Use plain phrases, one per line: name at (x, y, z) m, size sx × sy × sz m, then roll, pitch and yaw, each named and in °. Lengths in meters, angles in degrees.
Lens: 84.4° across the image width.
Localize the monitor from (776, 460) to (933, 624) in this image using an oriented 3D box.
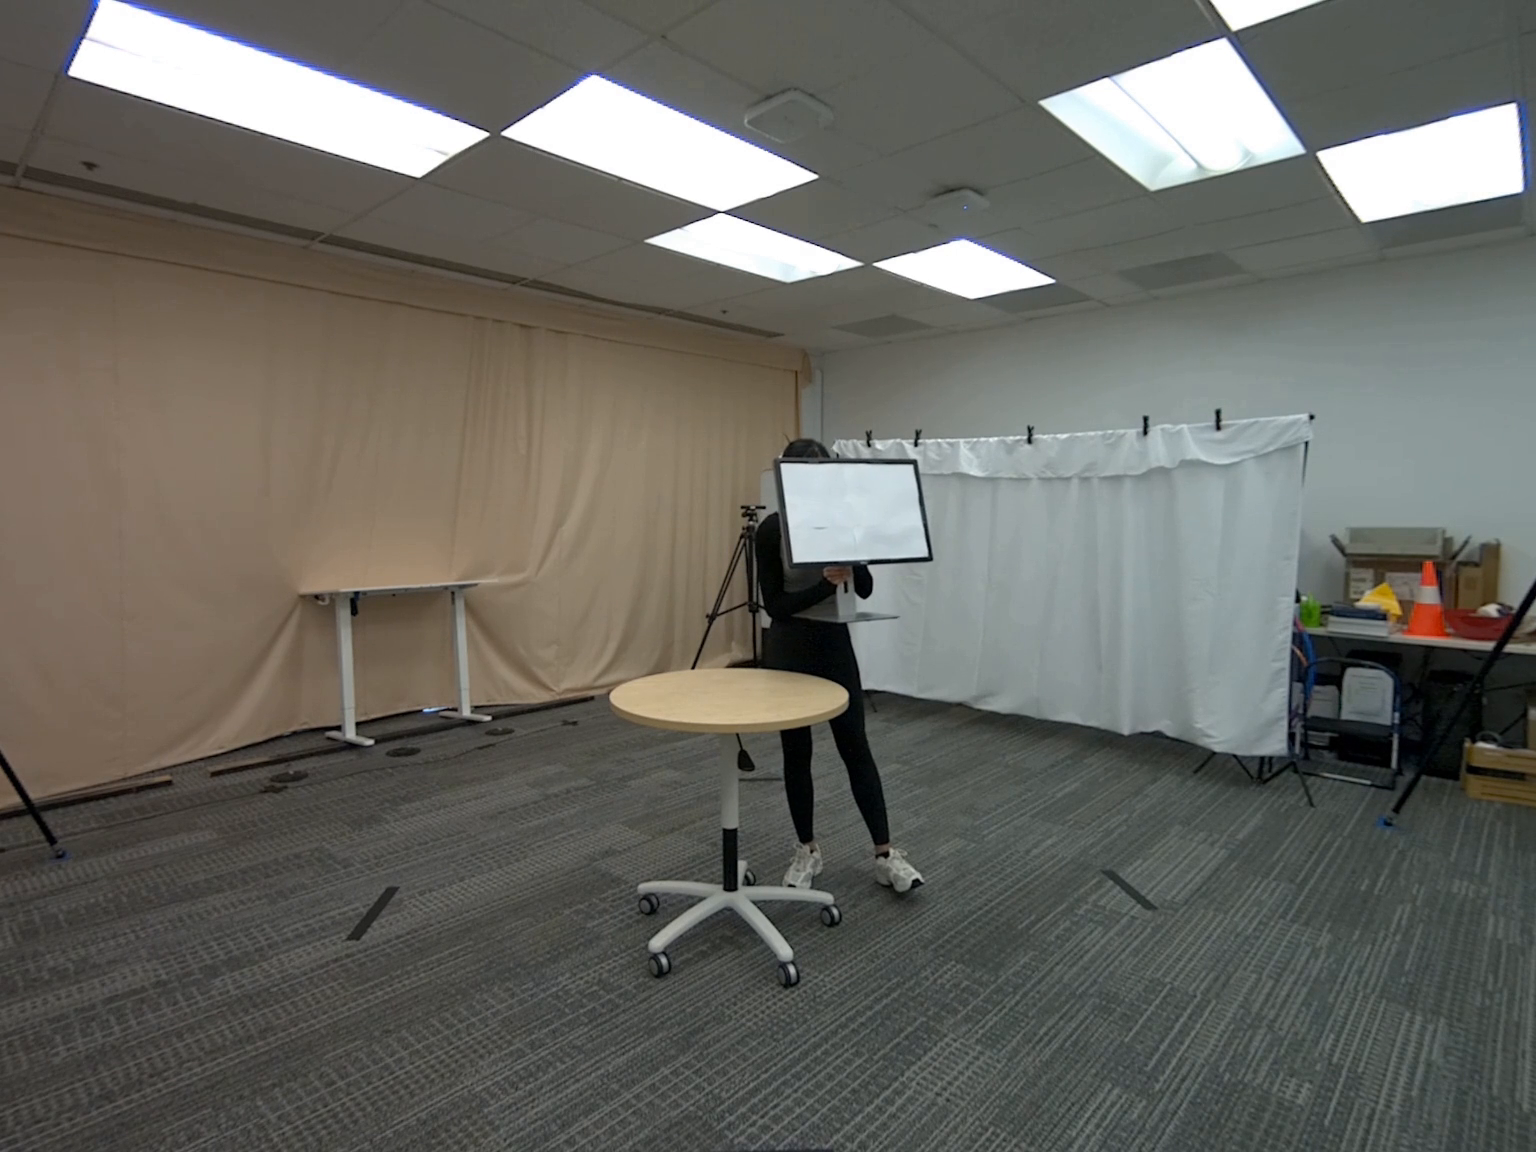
monitor at (0.283, -0.124, 2.832) m, size 0.526 × 0.522 × 0.192 m, roll -3°, pitch 2°, yaw -27°
